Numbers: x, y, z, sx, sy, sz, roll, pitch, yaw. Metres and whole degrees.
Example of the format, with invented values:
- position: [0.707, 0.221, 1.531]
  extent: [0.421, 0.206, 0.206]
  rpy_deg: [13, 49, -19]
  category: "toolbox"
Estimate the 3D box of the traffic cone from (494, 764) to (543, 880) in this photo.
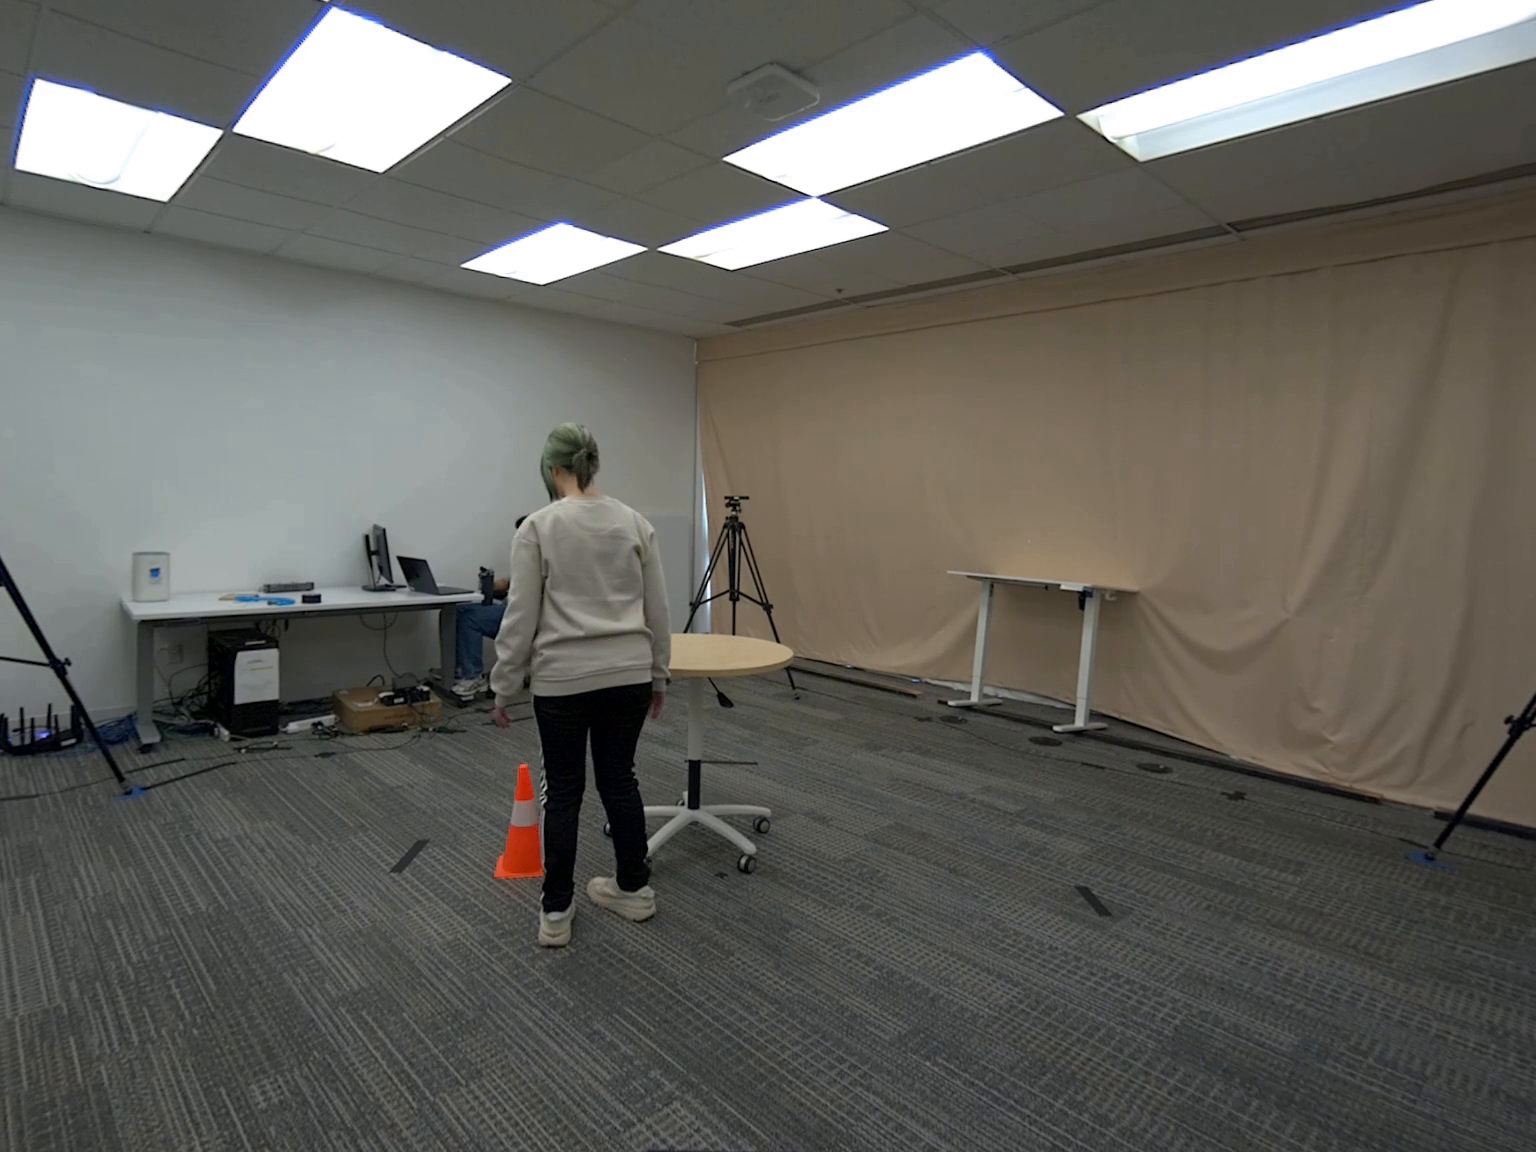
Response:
- position: [-0.917, 0.900, 3.136]
  extent: [0.202, 0.382, 0.207]
  rpy_deg: [2, 4, -8]
  category: "traffic cone"
